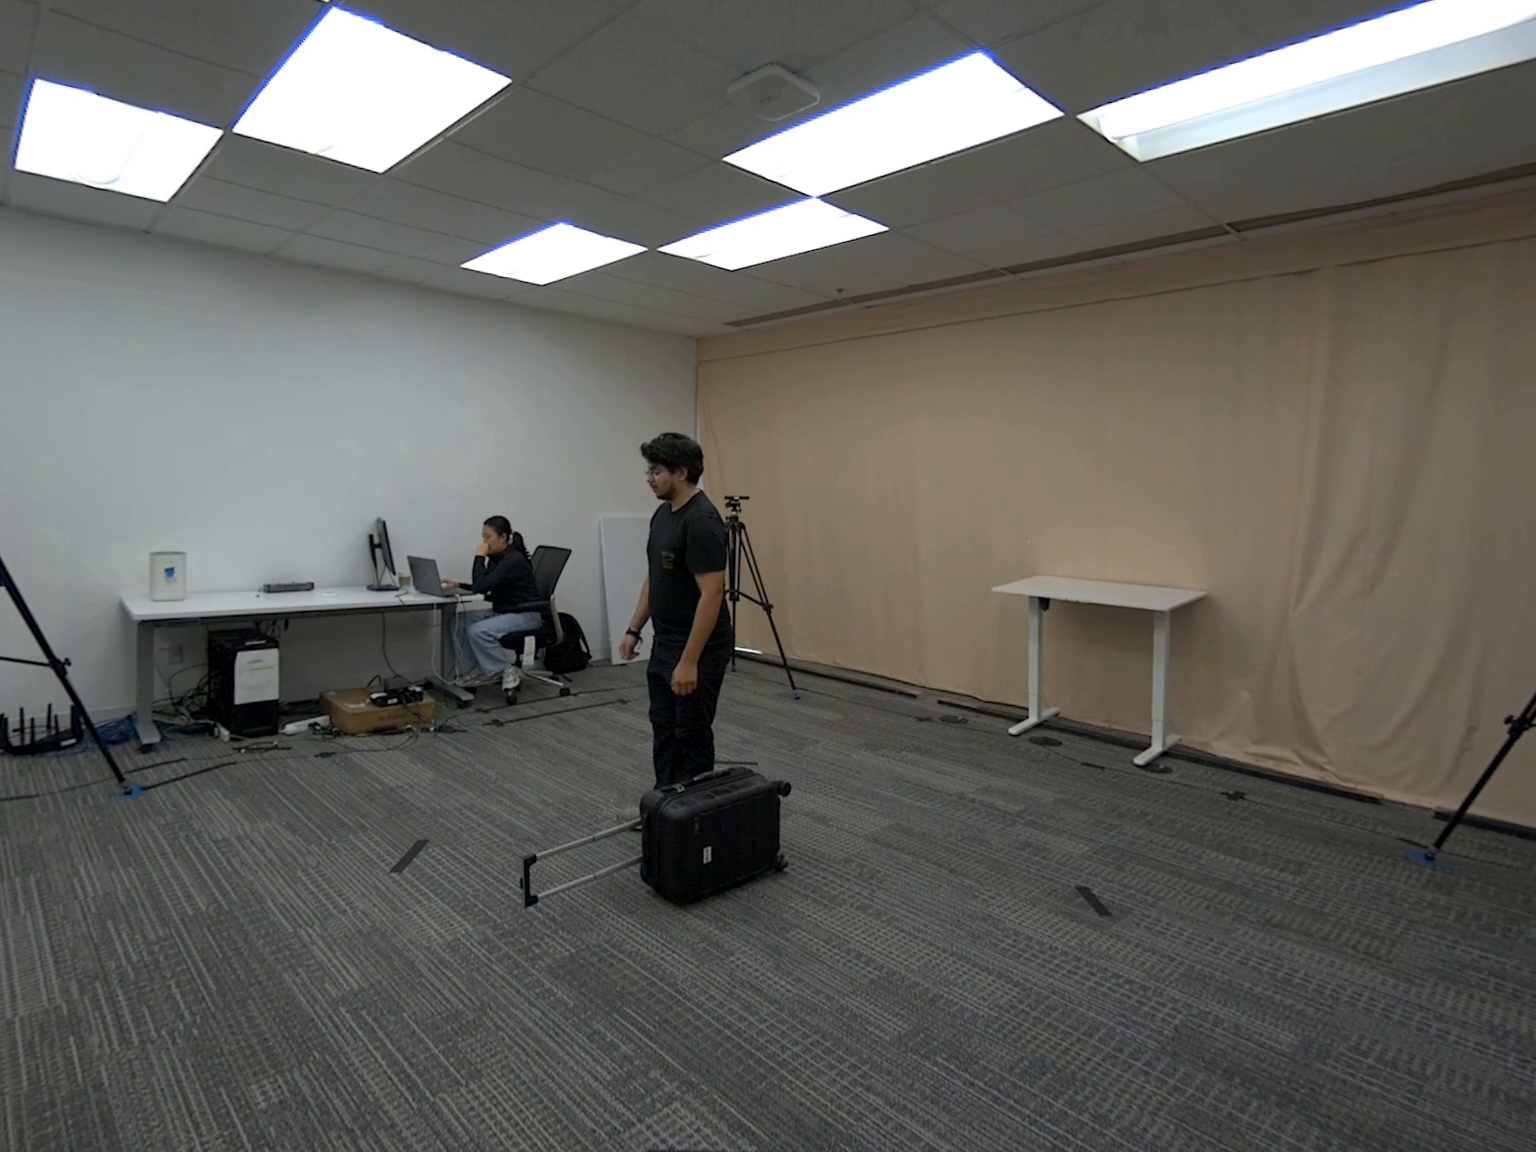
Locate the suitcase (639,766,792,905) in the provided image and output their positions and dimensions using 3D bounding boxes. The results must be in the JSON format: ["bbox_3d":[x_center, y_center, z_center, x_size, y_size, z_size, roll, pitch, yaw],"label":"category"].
[{"bbox_3d":[-0.347,0.932,2.890,0.957,0.383,0.264,-4,7,-44],"label":"suitcase"}]
